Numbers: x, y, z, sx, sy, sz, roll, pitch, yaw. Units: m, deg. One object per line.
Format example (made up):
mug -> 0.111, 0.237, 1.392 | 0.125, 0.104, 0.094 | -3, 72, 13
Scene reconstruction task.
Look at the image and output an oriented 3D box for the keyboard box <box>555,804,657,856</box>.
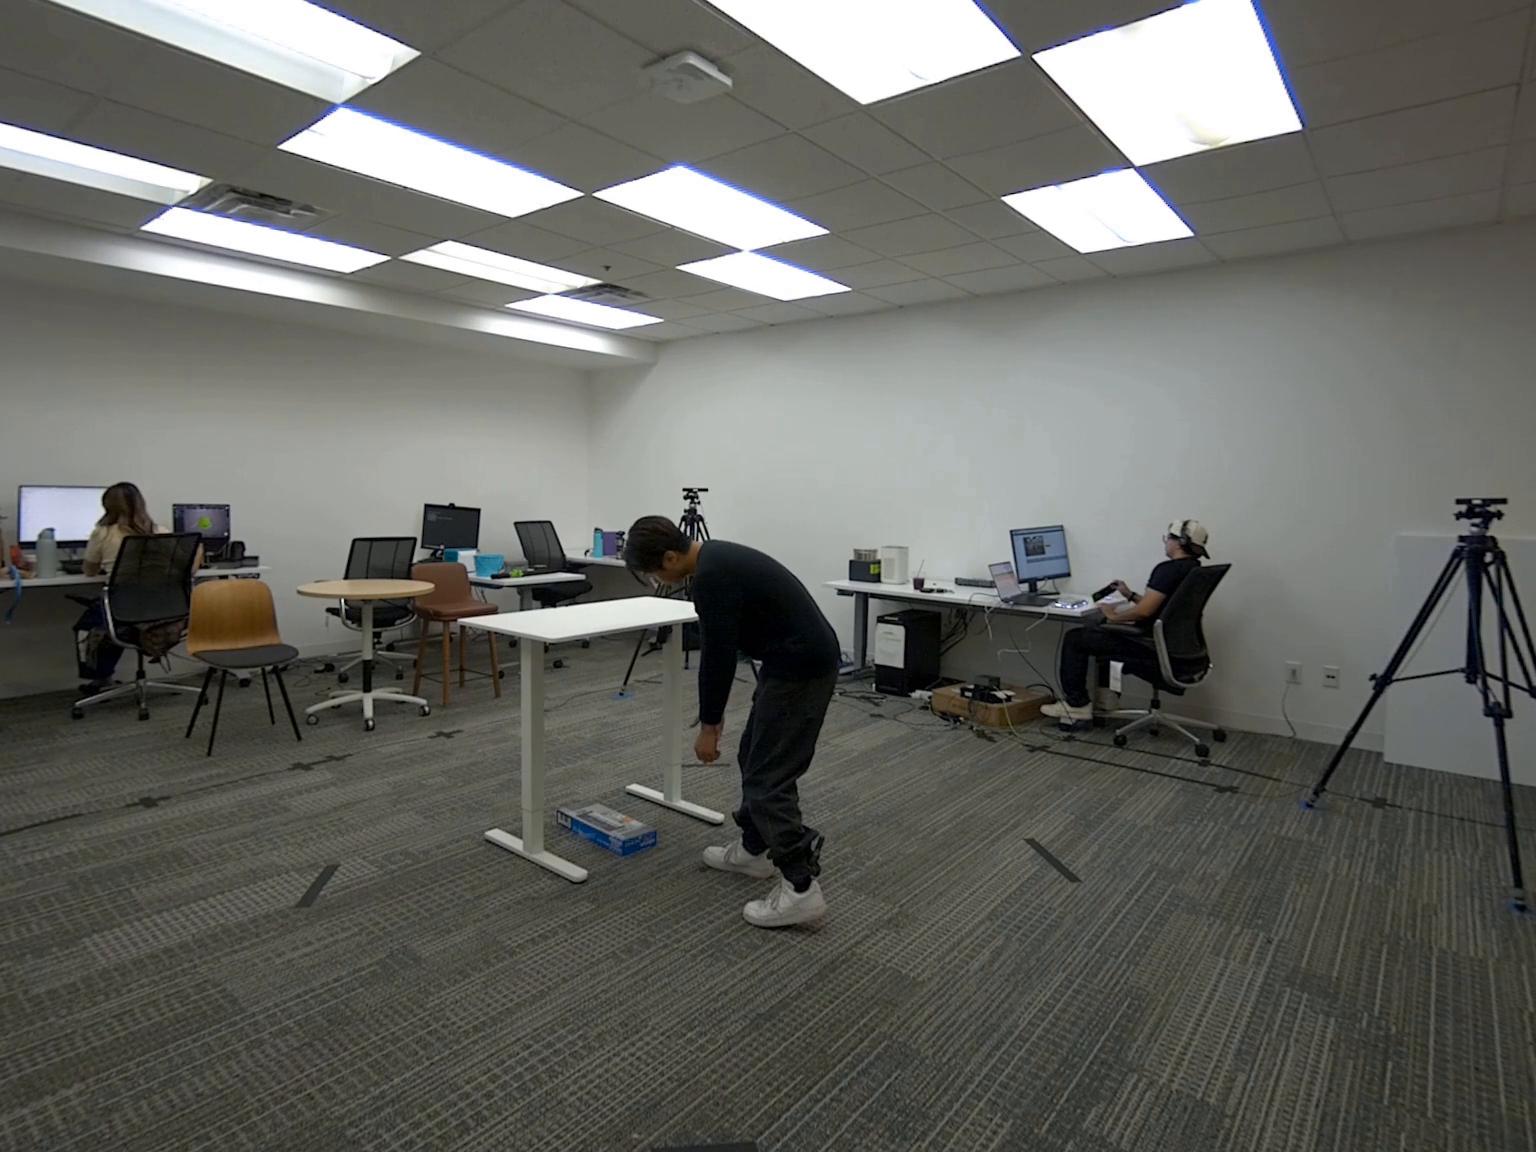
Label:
keyboard box -> -0.663, 1.002, 3.417 | 0.452, 0.059, 0.170 | 7, 7, 43
